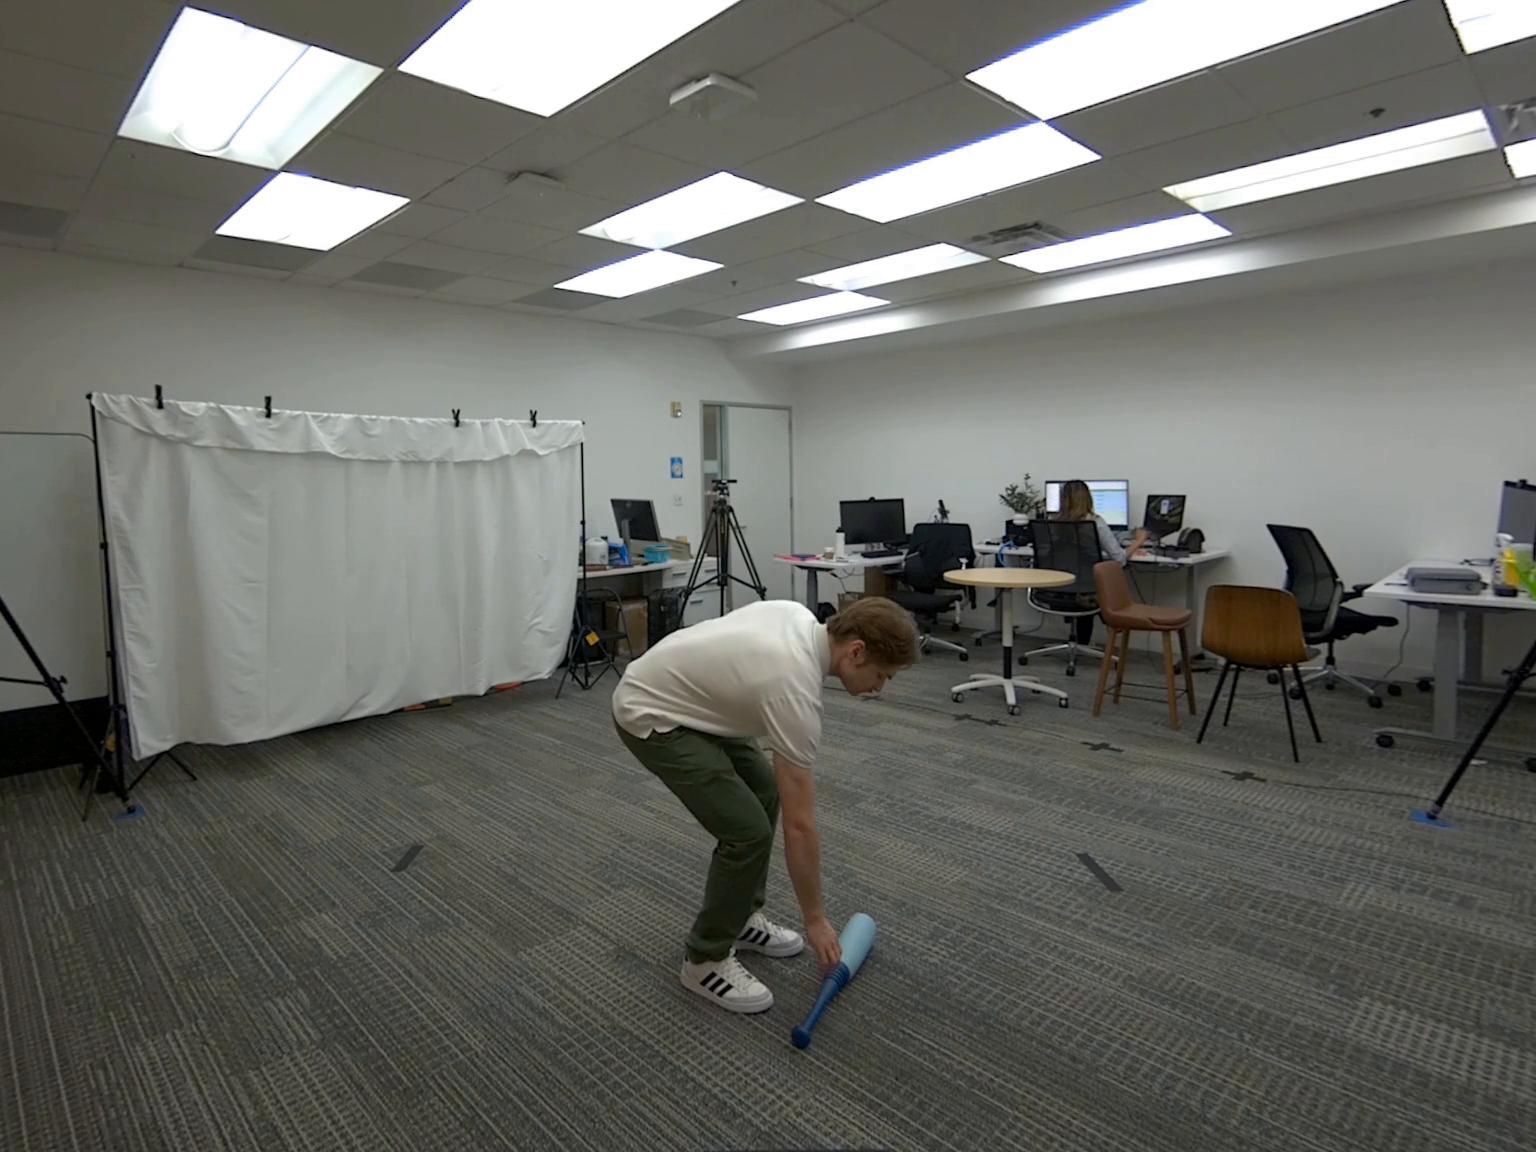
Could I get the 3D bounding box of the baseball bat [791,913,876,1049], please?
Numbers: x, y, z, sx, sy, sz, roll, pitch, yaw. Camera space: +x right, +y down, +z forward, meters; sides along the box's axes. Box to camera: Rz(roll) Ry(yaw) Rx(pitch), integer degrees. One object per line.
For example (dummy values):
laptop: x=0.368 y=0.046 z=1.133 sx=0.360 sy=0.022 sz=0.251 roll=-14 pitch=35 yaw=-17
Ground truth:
baseball bat: x=0.191 y=1.095 z=2.331 sx=0.091 sy=0.088 sz=0.536 roll=1 pitch=11 yaw=21
